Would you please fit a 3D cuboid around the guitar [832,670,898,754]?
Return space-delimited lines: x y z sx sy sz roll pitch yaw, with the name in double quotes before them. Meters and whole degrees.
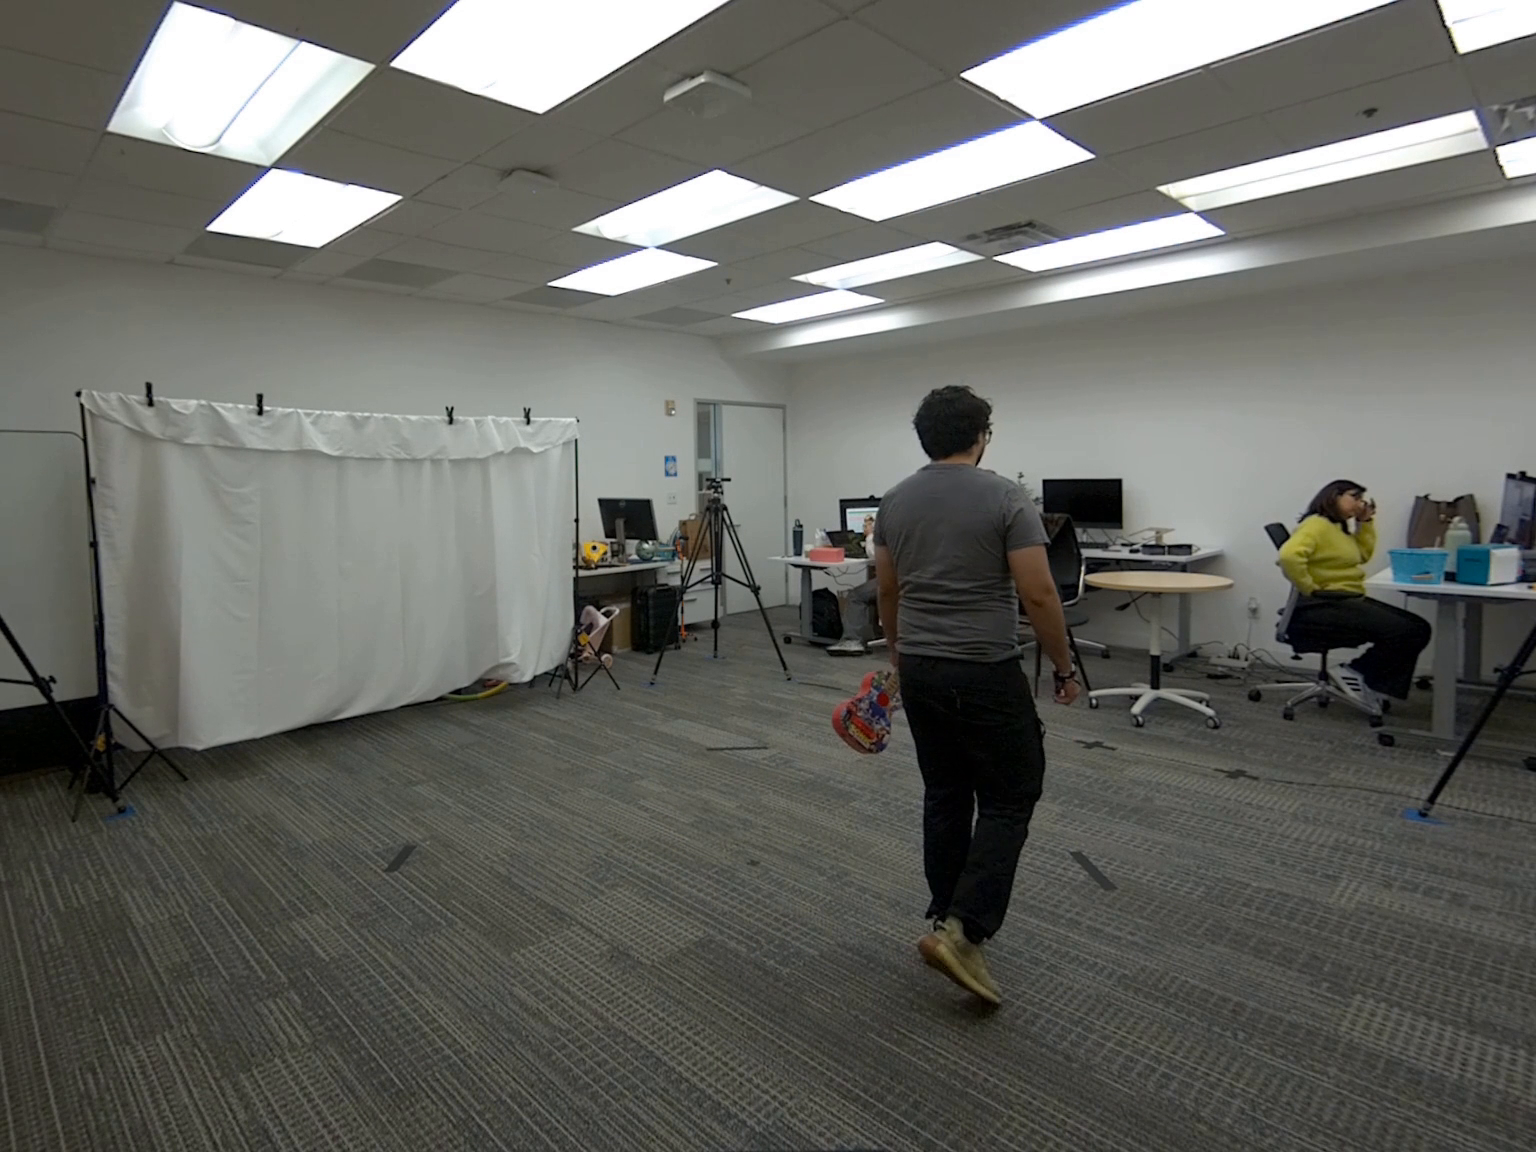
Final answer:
"guitar" 0.421 0.376 2.806 0.496 0.192 0.071 -43 4 -24
